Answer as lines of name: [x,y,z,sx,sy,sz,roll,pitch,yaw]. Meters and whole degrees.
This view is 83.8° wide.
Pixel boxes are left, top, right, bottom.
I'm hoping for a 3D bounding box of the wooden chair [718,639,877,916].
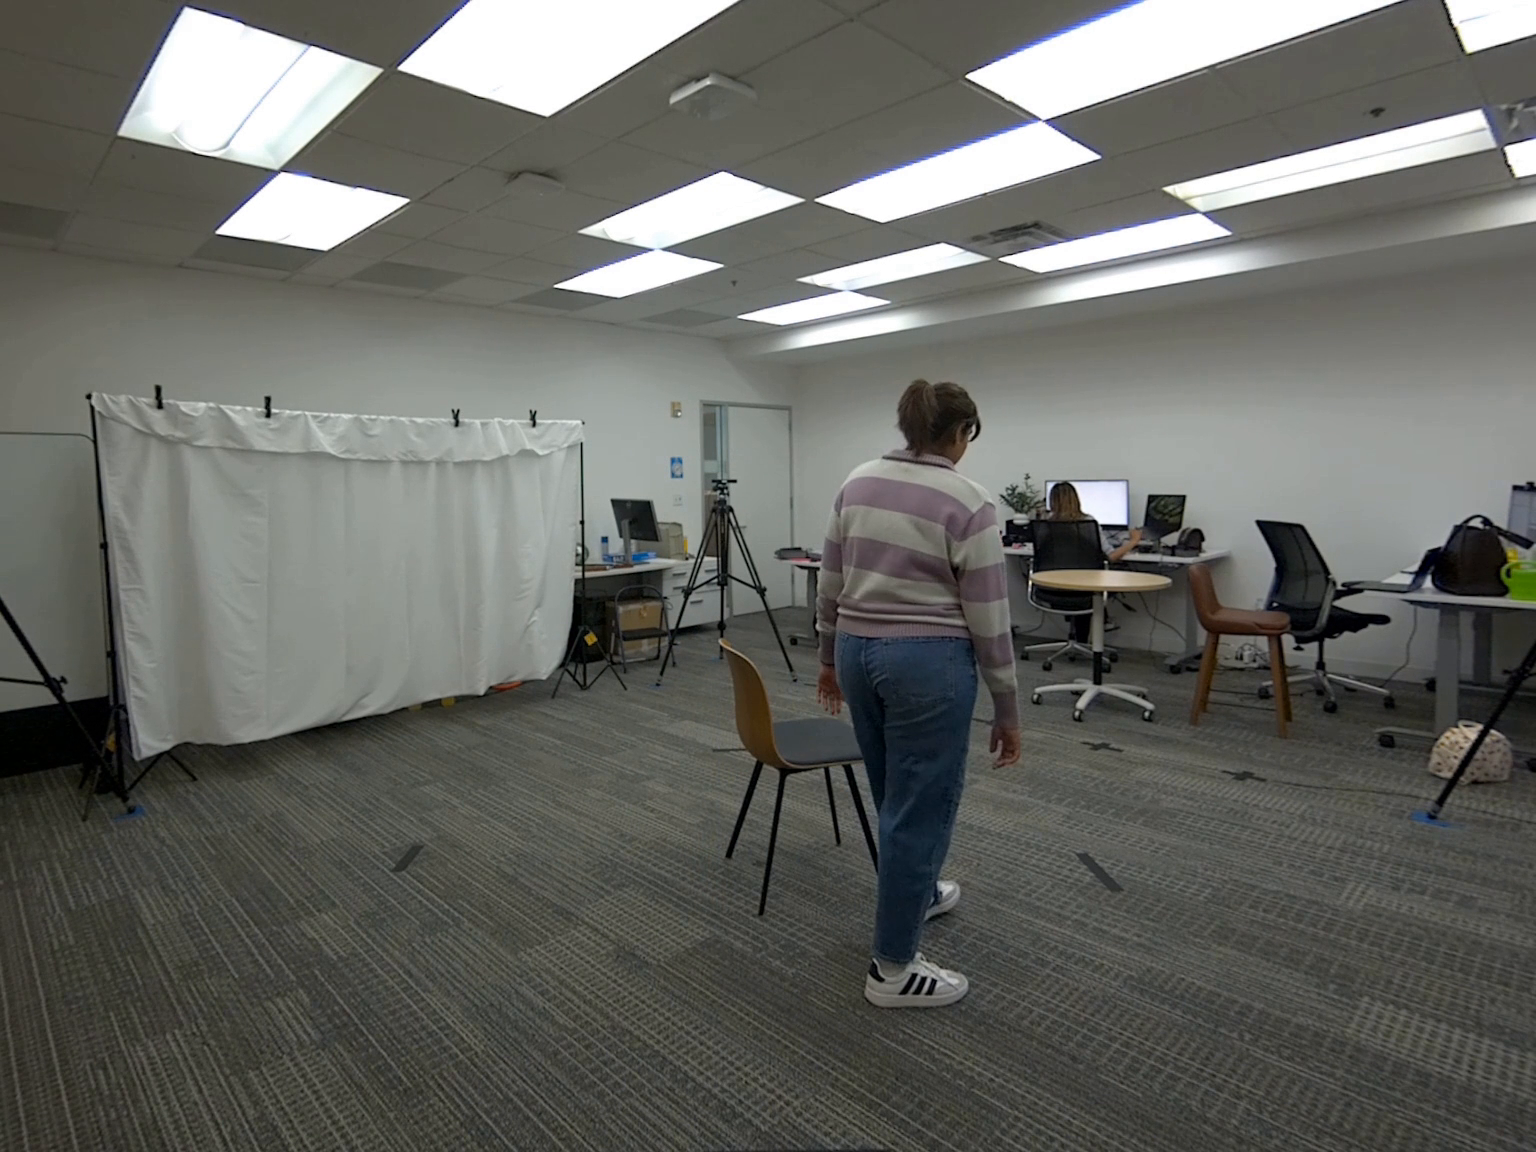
wooden chair: [0.126,0.630,2.971,0.516,0.874,0.486,-6,5,-15]
